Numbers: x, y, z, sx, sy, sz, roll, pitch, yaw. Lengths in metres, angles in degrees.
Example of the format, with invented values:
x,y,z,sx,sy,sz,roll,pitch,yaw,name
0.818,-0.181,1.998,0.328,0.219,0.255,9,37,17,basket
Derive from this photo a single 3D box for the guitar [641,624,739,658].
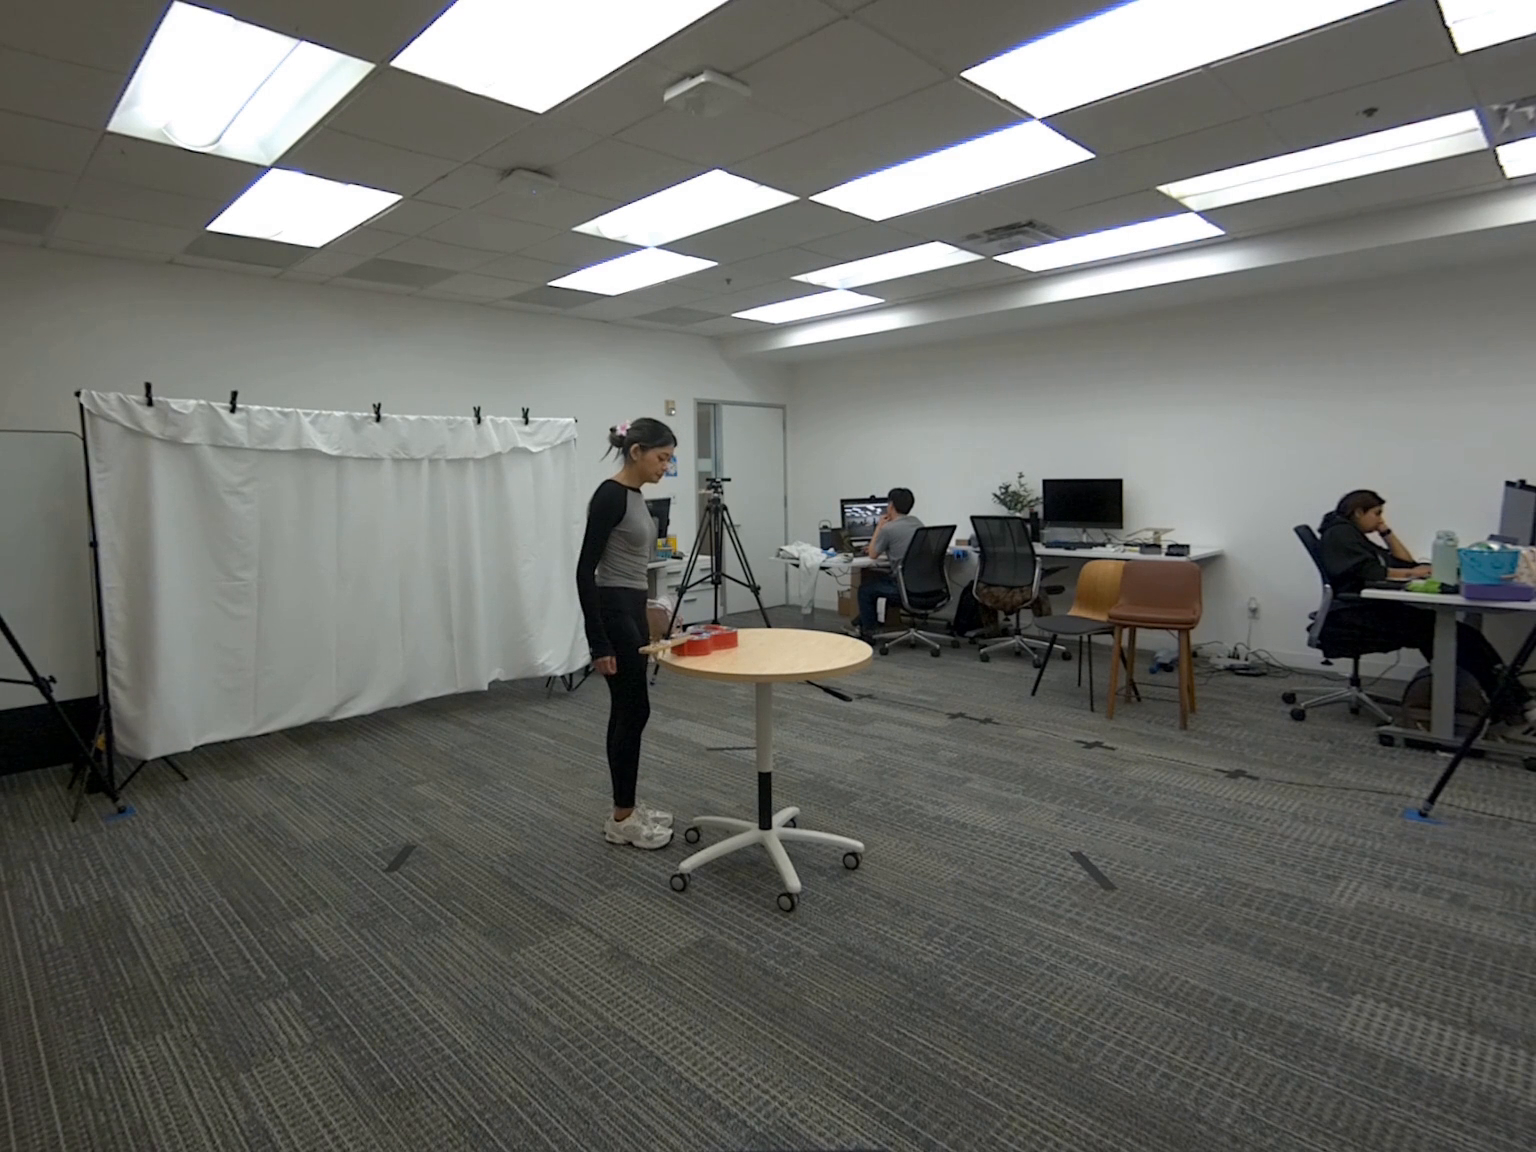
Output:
x,y,z,sx,sy,sz,roll,pitch,yaw,name
-0.309,0.236,2.951,0.199,0.070,0.486,6,9,36,guitar
